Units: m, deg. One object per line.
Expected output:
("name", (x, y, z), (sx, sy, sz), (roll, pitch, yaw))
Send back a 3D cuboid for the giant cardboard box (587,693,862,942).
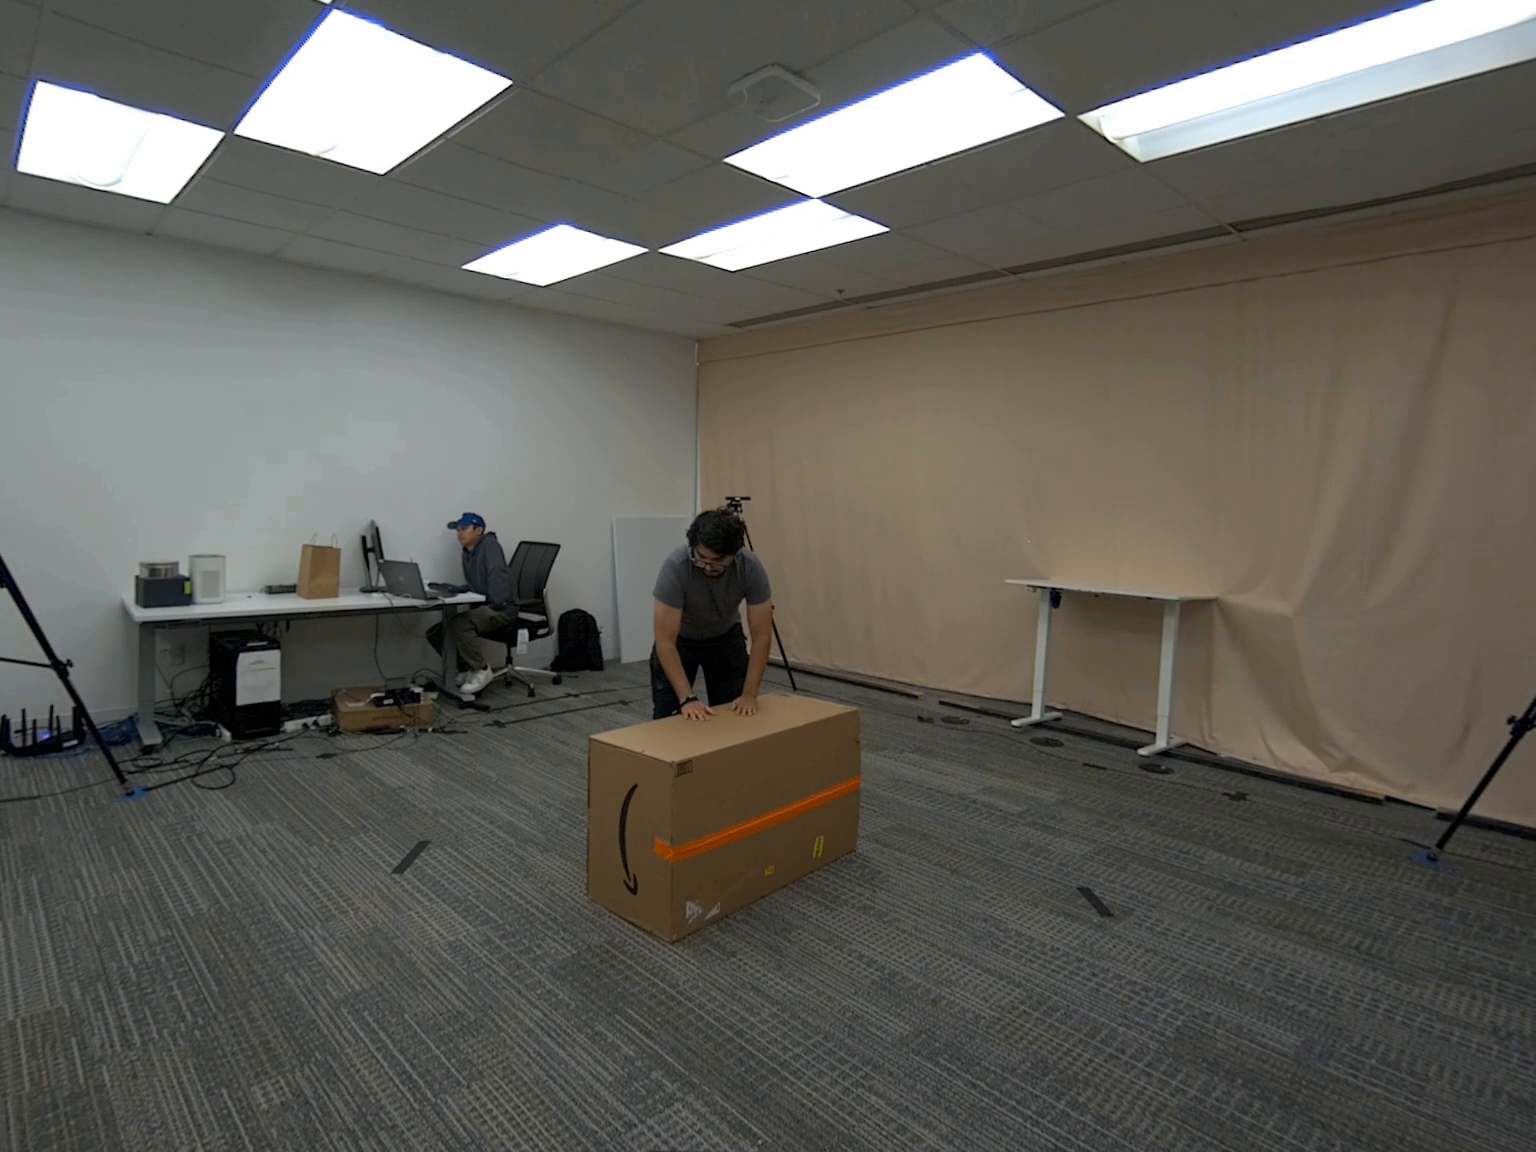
("giant cardboard box", (-0.129, 0.818, 3.106), (0.437, 0.576, 1.003), (4, 5, 41))
